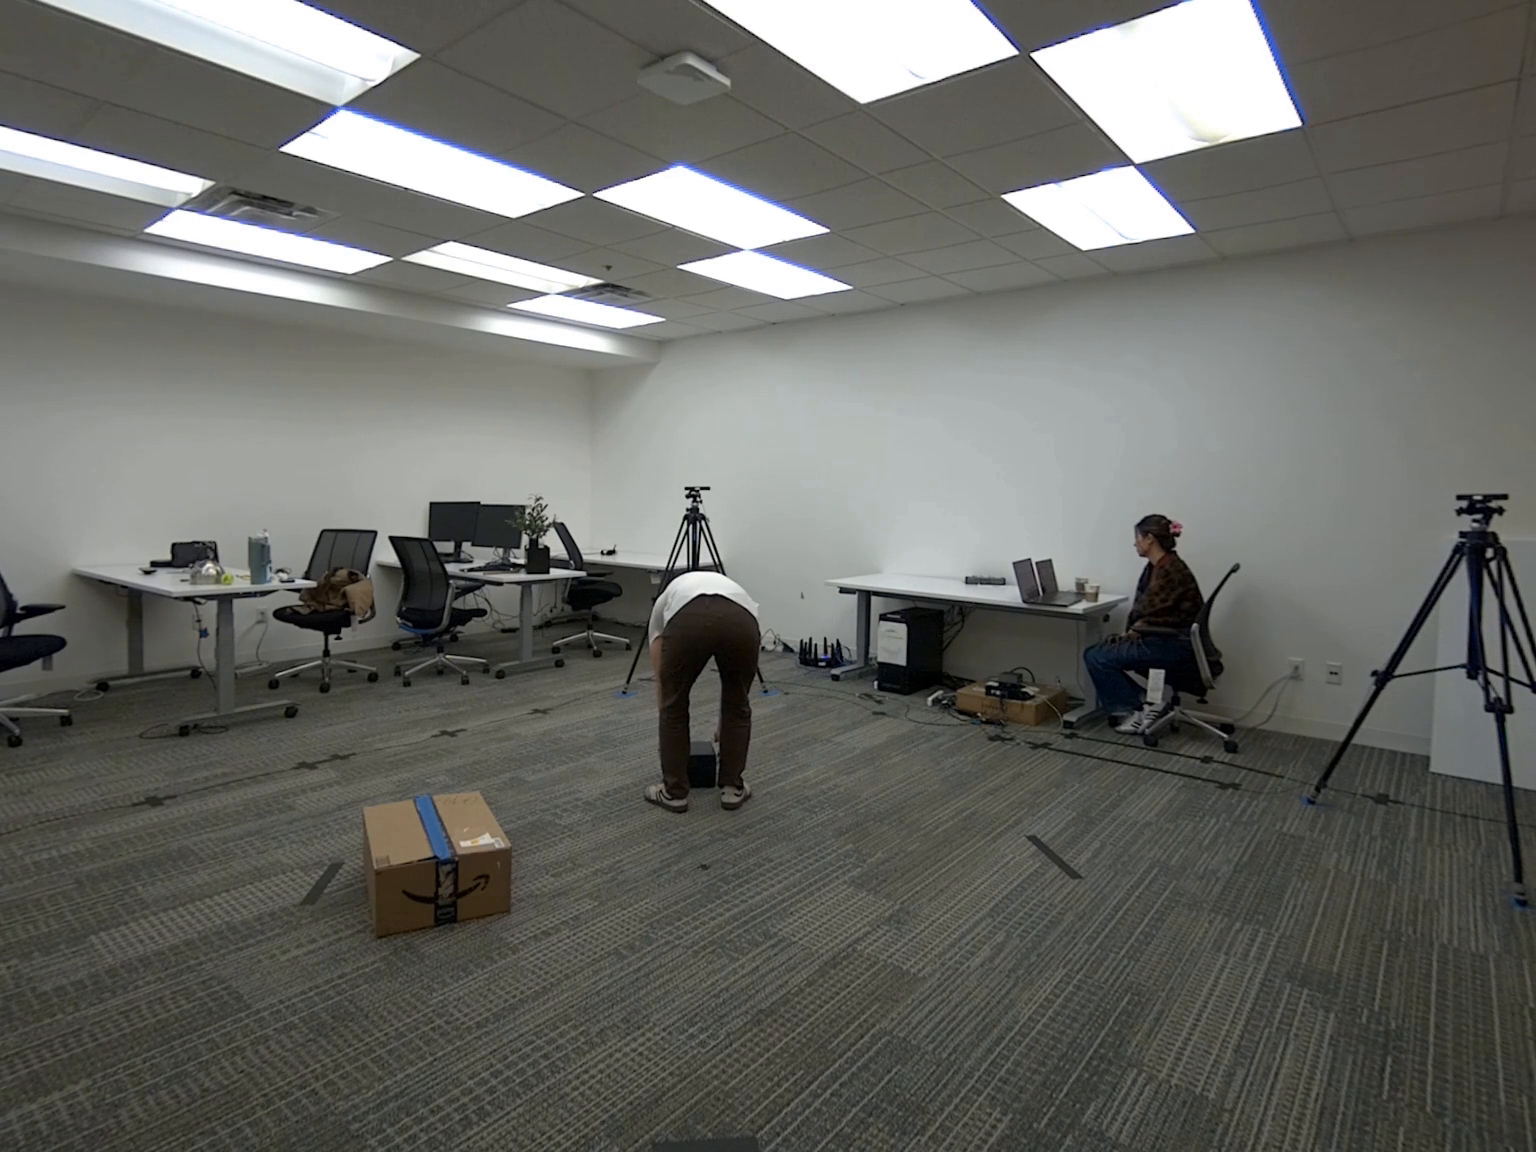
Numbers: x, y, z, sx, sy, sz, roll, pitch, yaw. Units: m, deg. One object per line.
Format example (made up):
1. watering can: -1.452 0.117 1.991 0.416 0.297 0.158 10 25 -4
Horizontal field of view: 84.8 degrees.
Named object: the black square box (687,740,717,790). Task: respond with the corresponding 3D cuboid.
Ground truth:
1. black square box: -0.381 0.885 4.038 0.226 0.155 0.220 0 4 -9
